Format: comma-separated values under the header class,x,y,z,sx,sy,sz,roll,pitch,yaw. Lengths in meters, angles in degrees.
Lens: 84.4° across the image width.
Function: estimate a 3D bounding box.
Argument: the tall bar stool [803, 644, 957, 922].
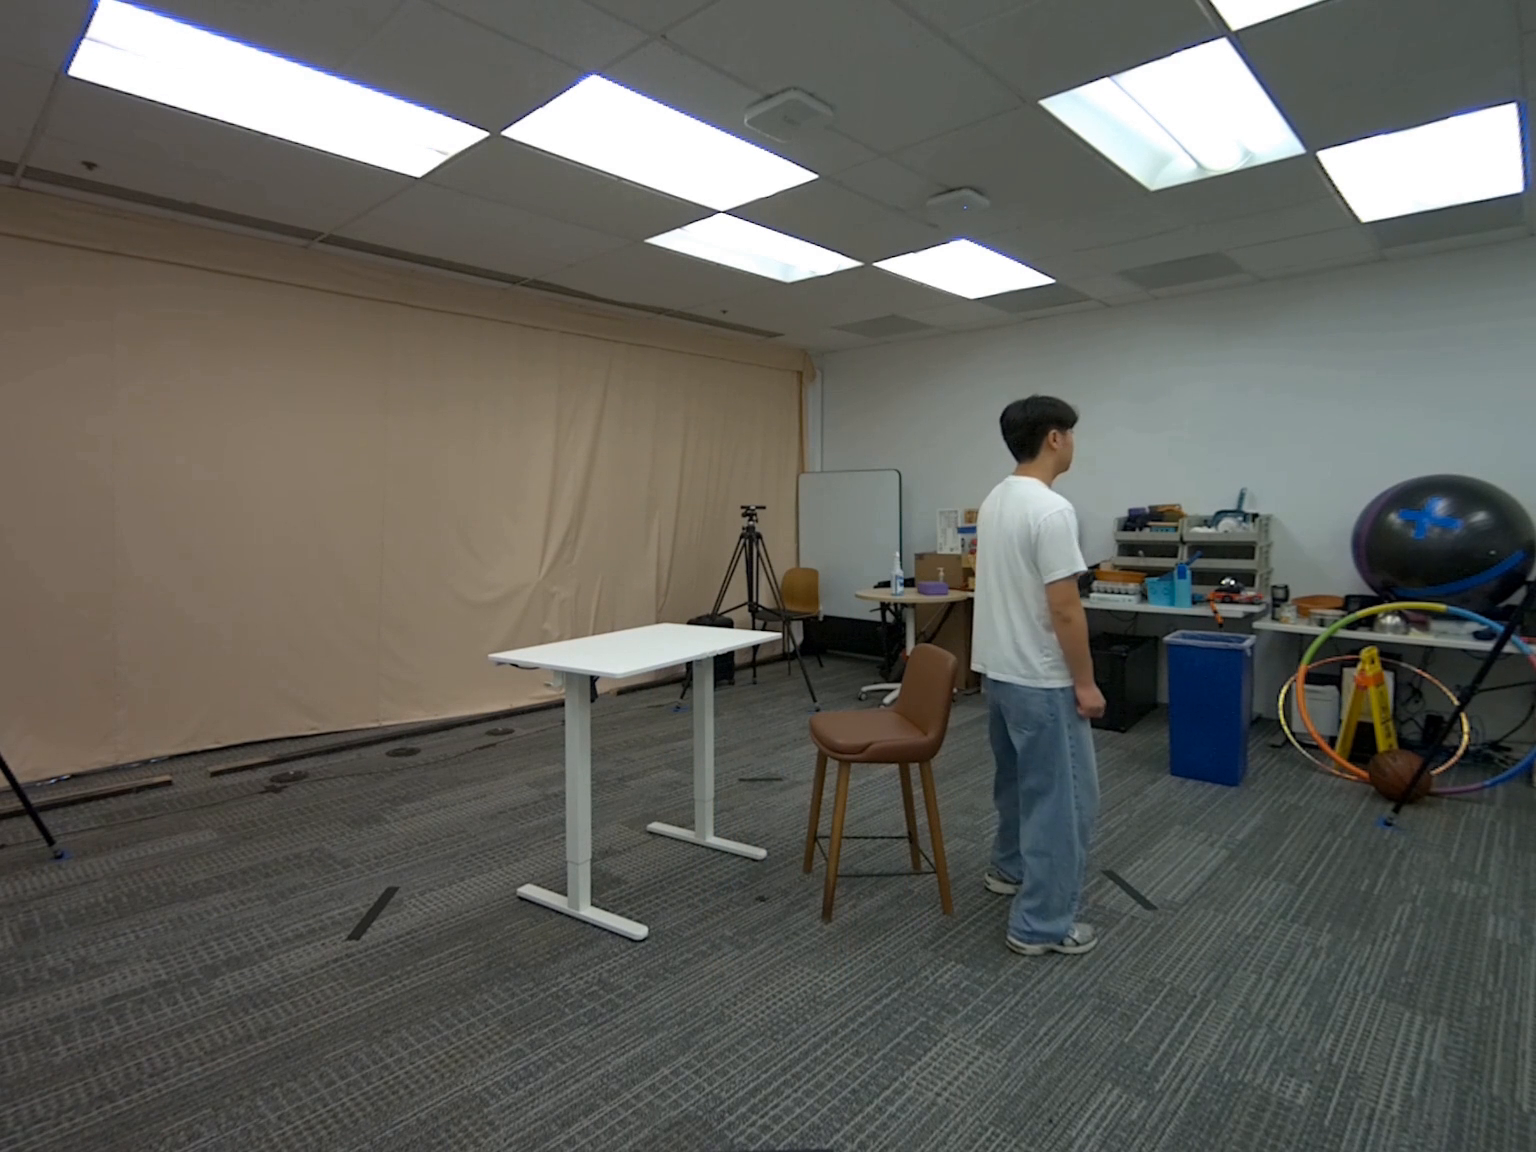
class,x,y,z,sx,sy,sz,roll,pitch,yaw
tall bar stool,0.394,0.705,2.996,0.464,0.888,0.461,1,3,-8
